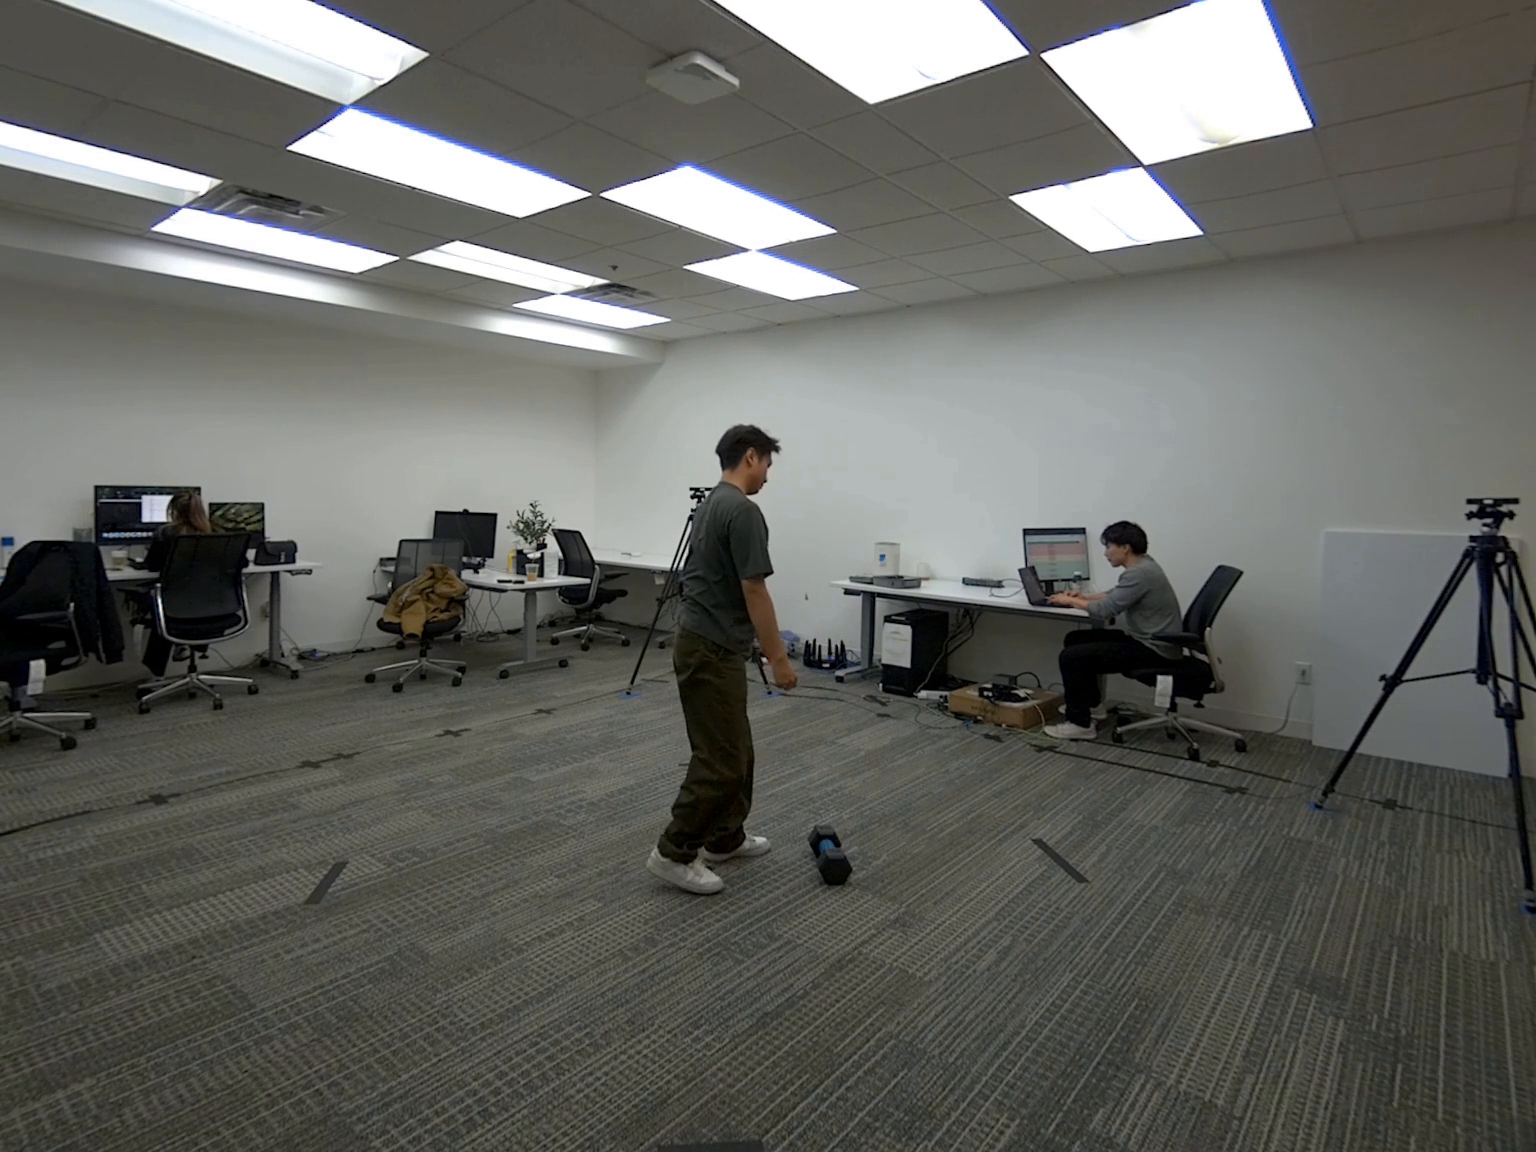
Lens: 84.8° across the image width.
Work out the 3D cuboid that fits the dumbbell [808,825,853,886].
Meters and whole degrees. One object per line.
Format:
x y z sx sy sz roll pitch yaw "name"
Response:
0.215 1.026 3.133 0.108 0.123 0.296 30 2 -7 "dumbbell"
